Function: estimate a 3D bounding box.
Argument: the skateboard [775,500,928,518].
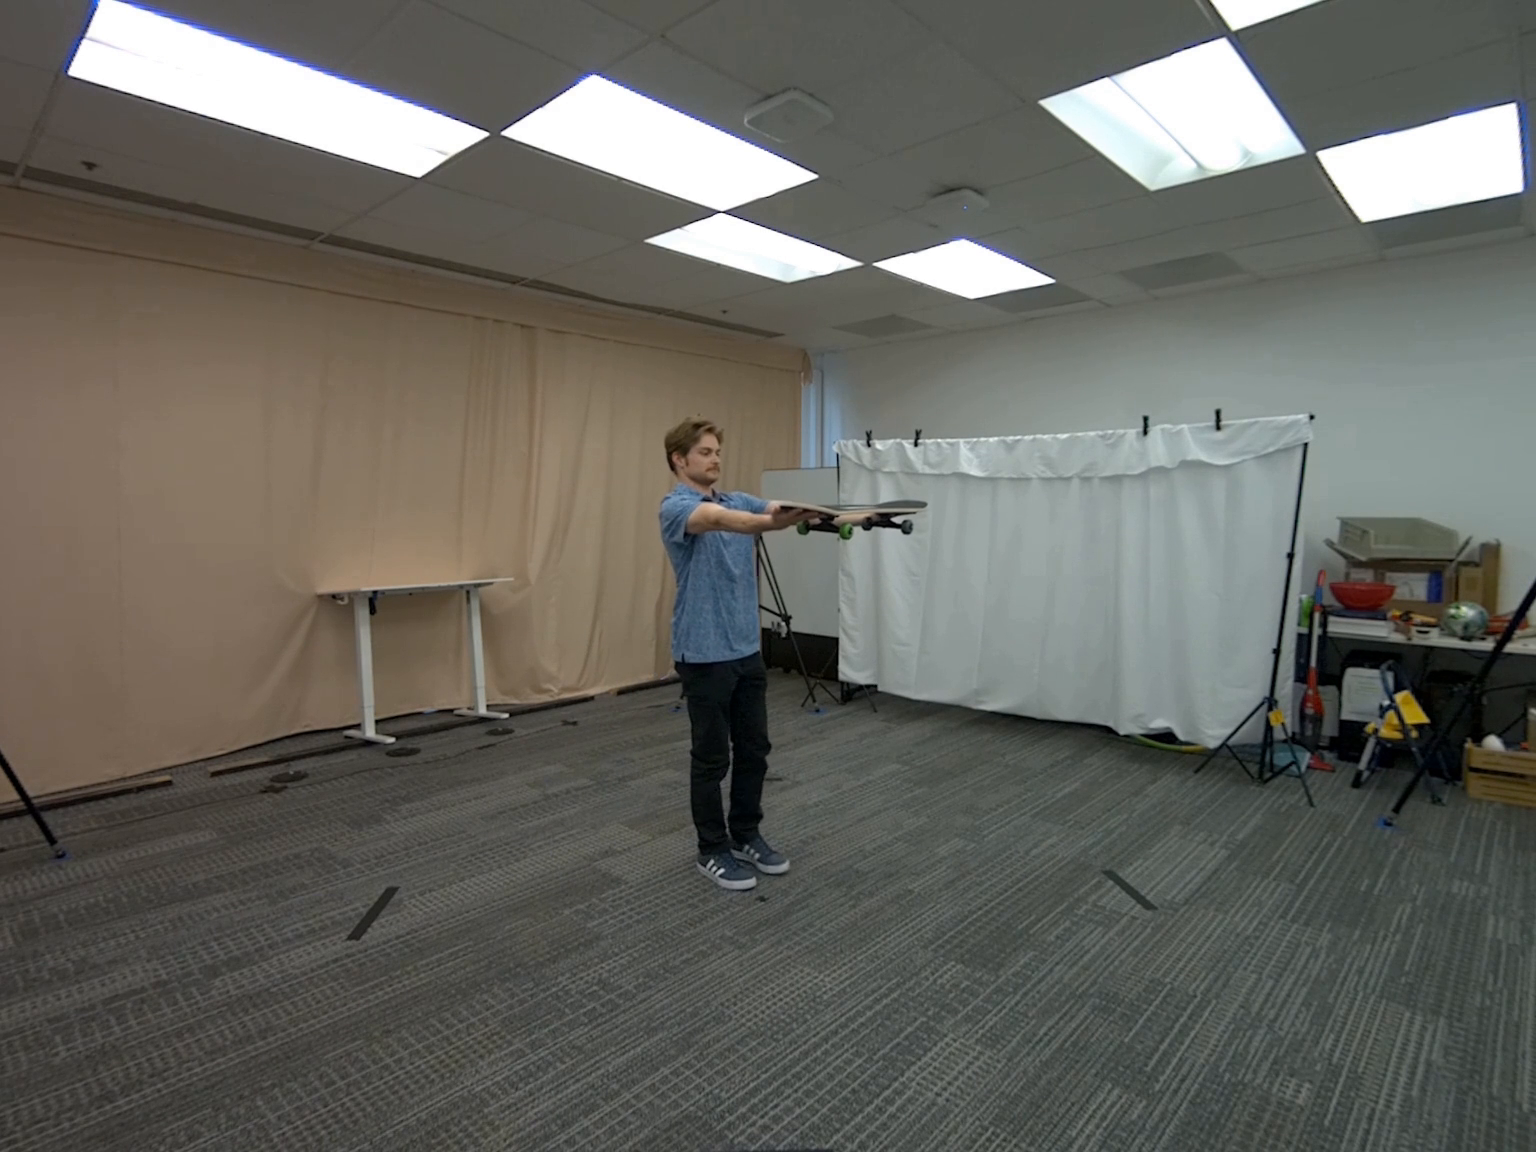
[{"bbox_3d":[0.290,-0.187,2.736,0.200,0.110,0.762,5,8,38],"label":"skateboard"}]
